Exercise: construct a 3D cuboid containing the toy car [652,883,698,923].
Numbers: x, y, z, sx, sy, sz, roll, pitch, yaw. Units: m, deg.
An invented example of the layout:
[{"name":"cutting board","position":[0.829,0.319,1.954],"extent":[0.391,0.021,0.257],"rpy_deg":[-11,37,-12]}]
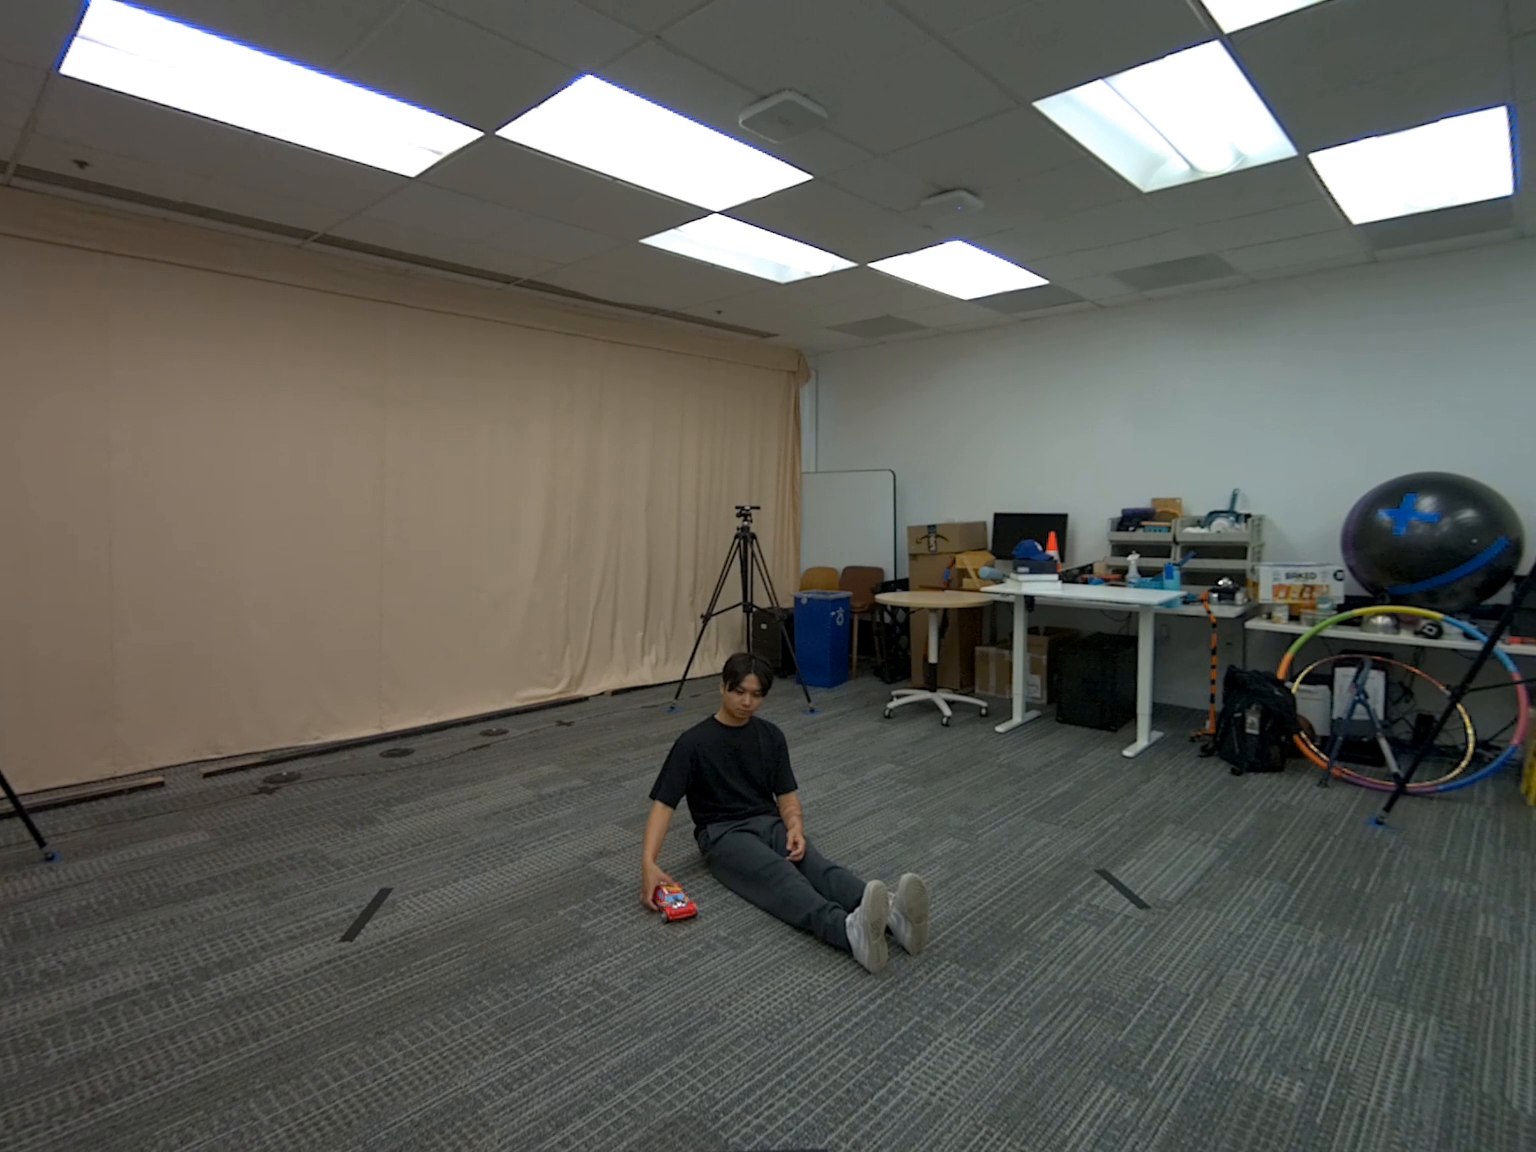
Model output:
[{"name":"toy car","position":[-0.345,1.120,2.921],"extent":[0.127,0.083,0.262],"rpy_deg":[-2,13,-25]}]
